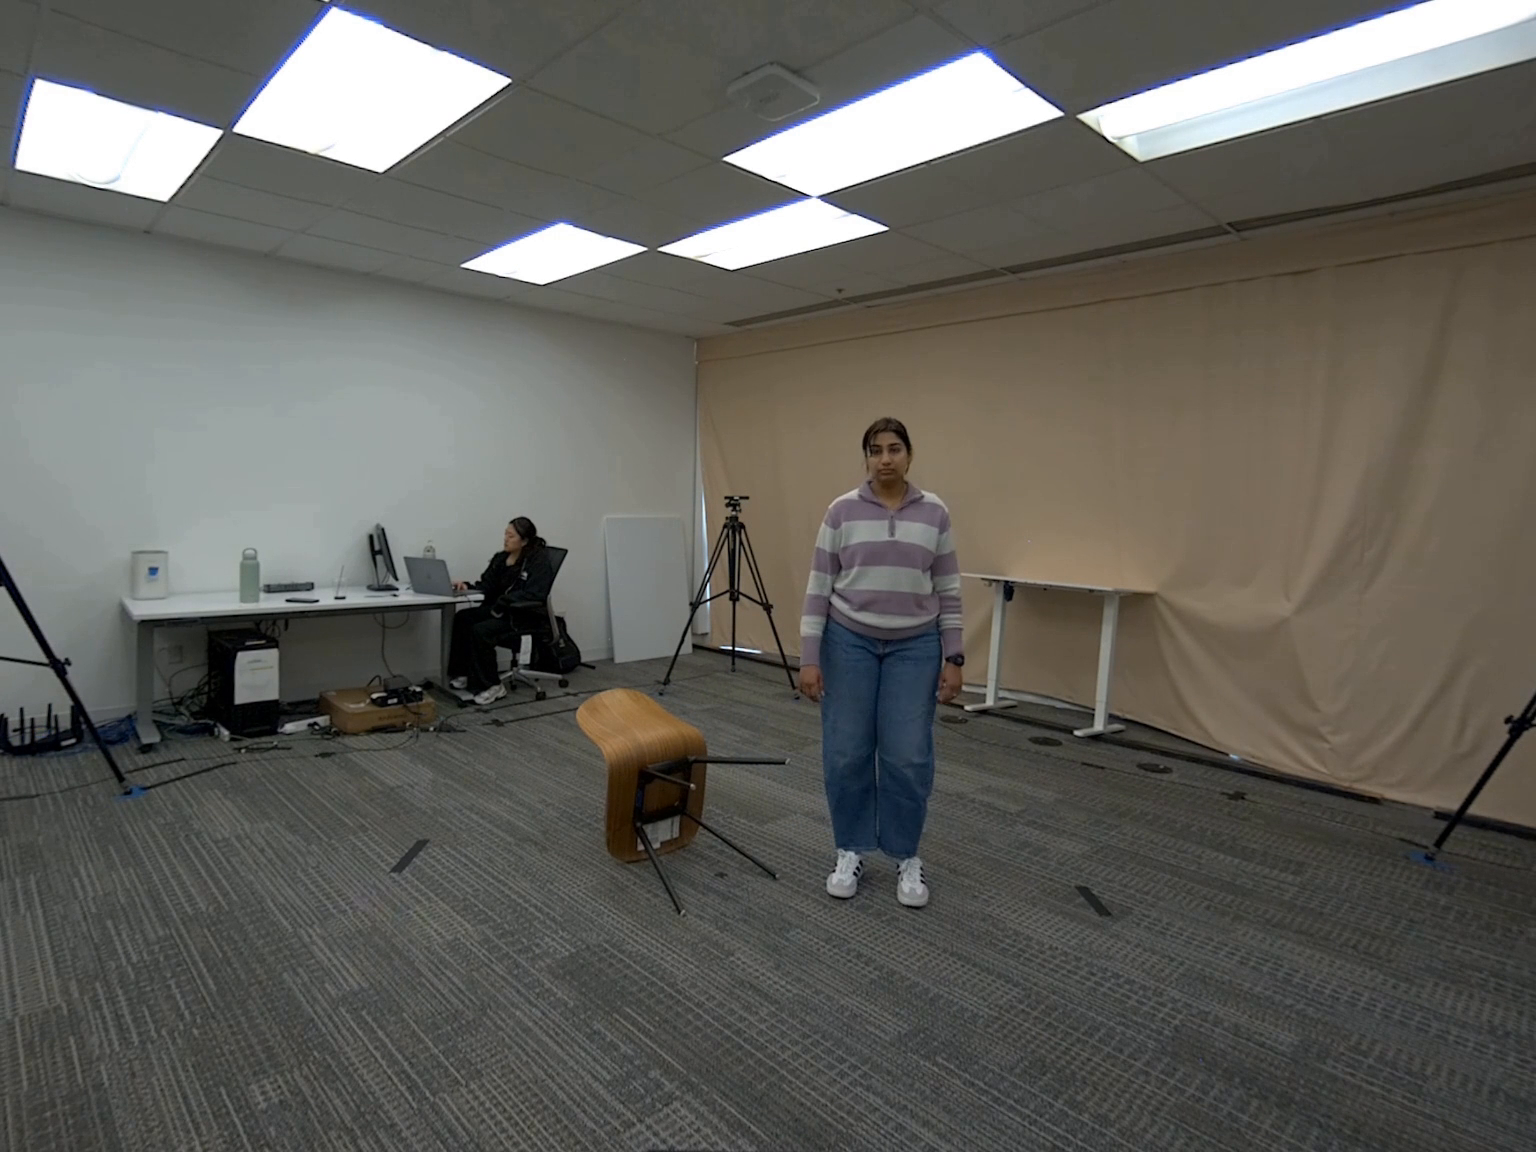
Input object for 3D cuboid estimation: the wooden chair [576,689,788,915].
[{"bbox_3d":[-0.399,0.831,3.230,0.467,0.519,0.903,-3,15,-42],"label":"wooden chair"}]
